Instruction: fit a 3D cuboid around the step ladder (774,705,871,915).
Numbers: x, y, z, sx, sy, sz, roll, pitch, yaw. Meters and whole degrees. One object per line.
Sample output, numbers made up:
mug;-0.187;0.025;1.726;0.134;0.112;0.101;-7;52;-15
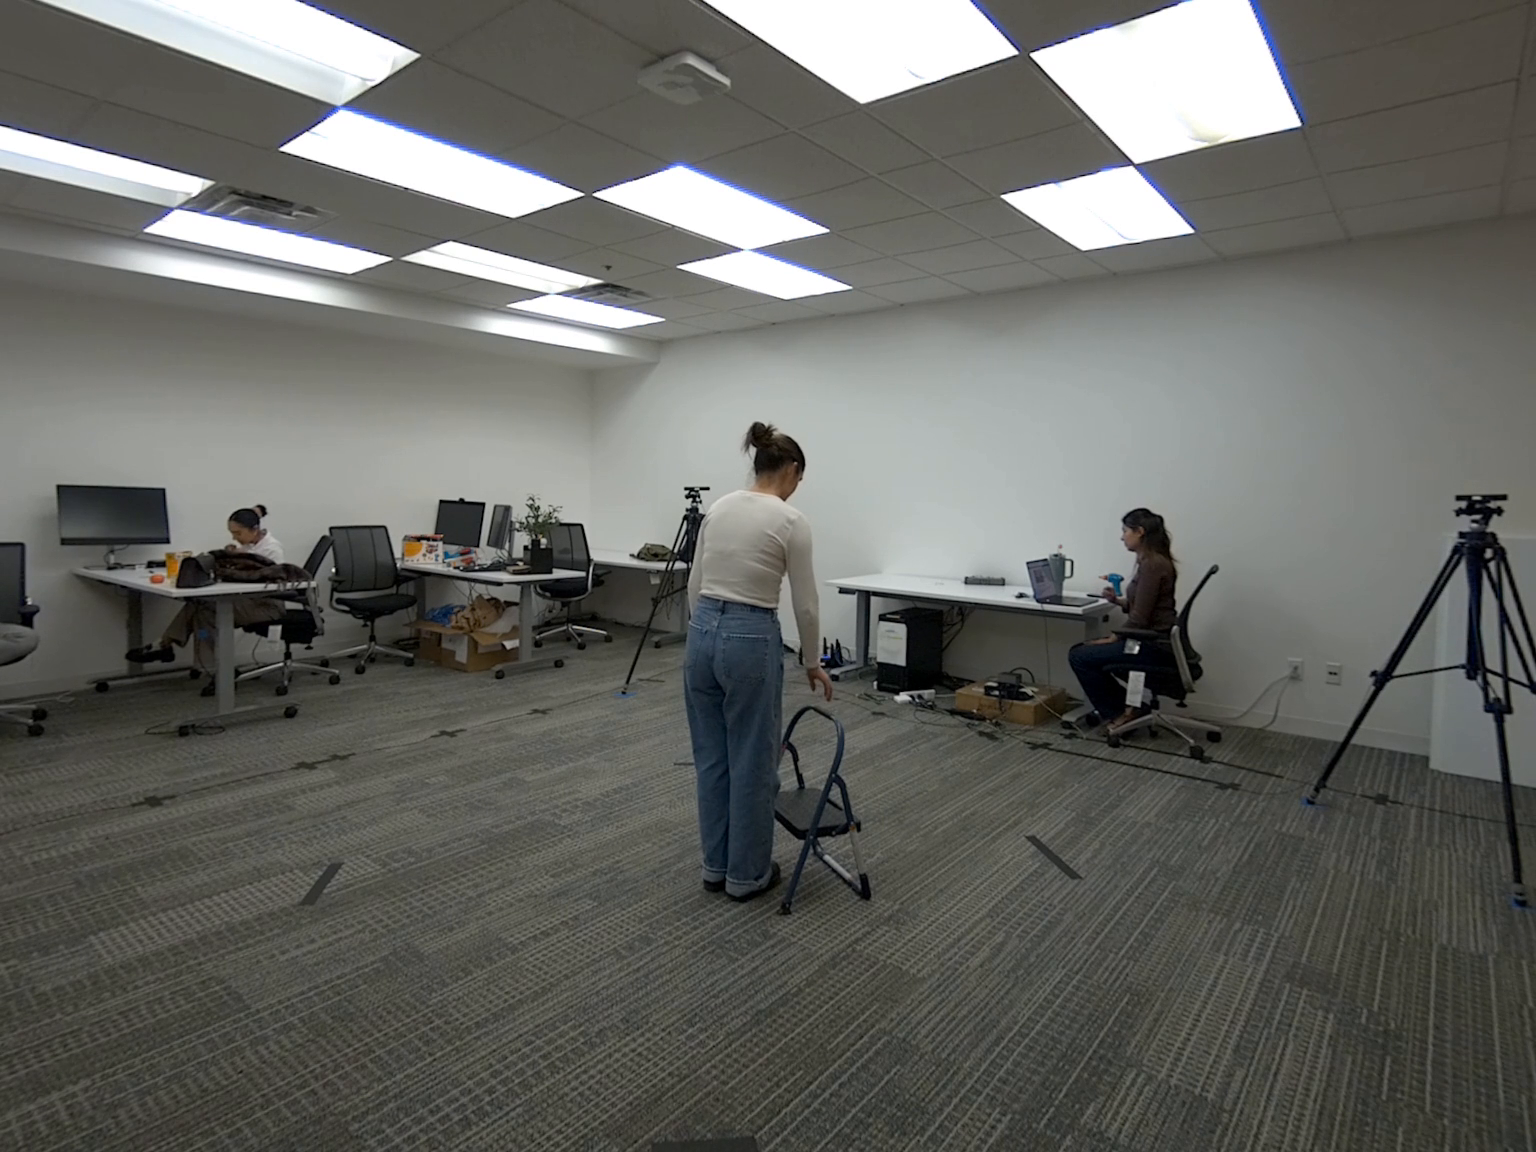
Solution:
step ladder;0.118;0.779;3.011;0.342;0.604;0.441;0;4;-22
